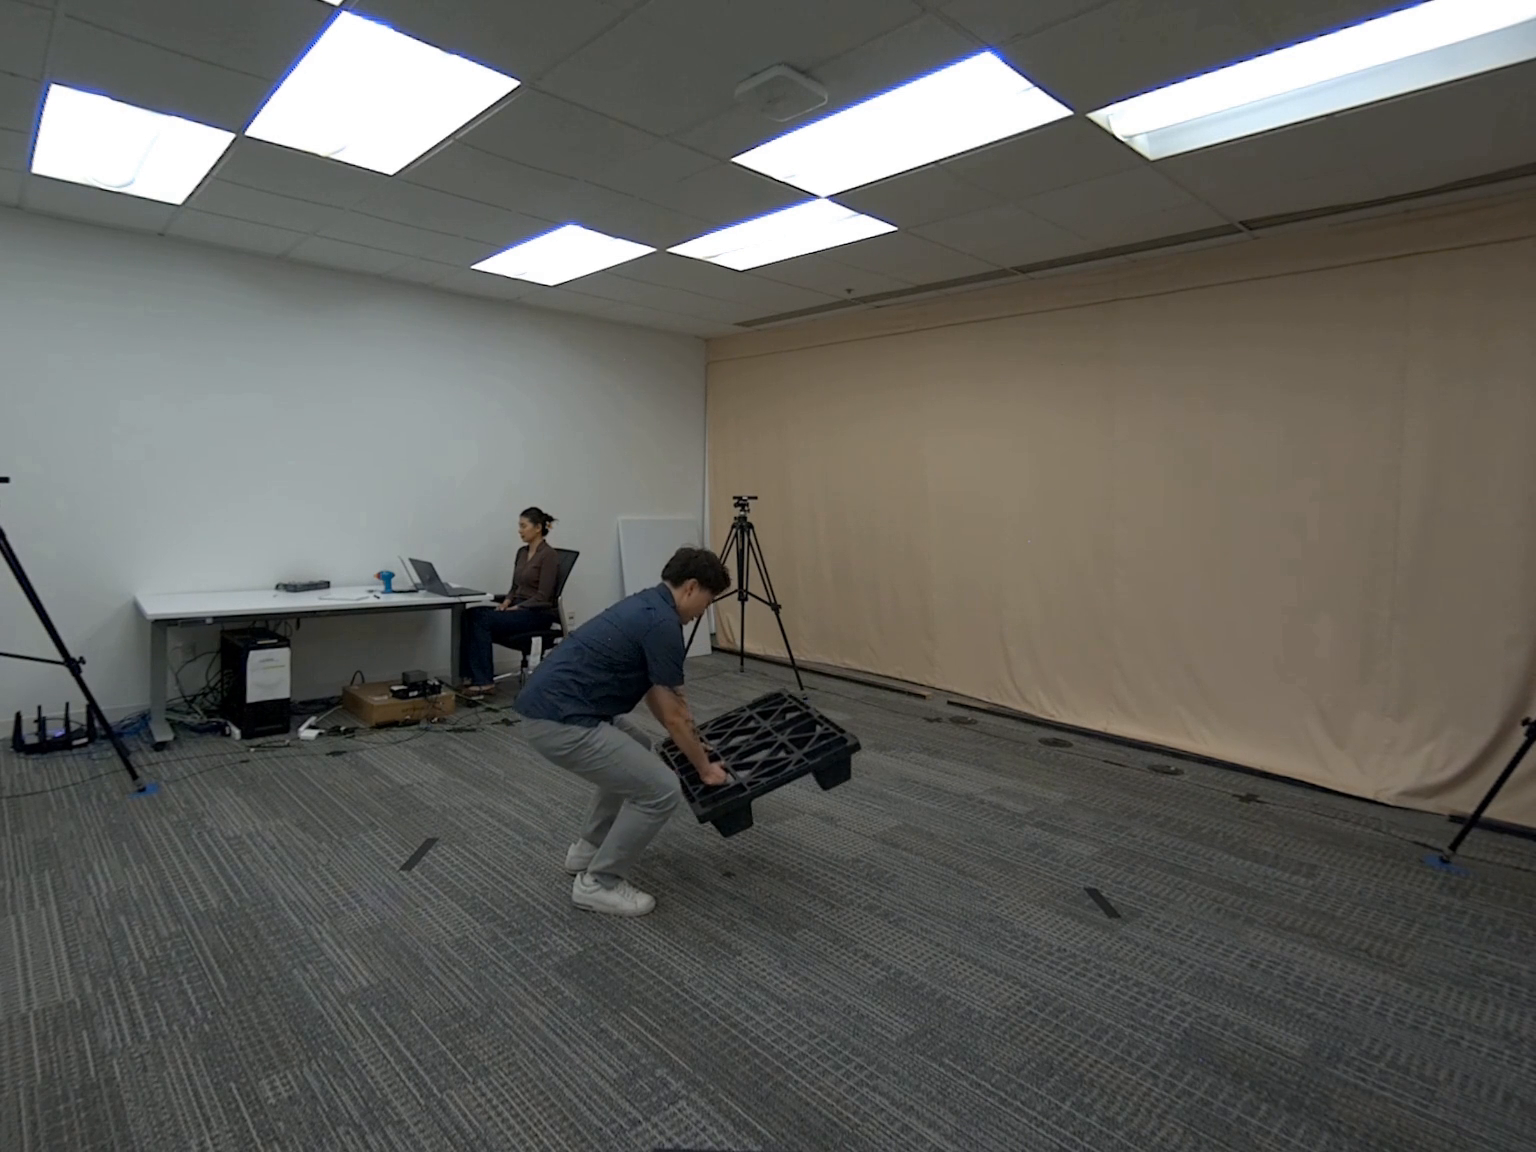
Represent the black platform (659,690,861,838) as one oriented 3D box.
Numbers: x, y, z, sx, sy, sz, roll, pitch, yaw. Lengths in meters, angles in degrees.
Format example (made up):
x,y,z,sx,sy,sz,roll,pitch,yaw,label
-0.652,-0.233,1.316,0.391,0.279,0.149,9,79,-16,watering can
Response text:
x,y,z,sx,sy,sz,roll,pitch,yaw,label
-0.065,0.678,3.140,0.601,0.142,0.818,-22,11,-14,black platform
